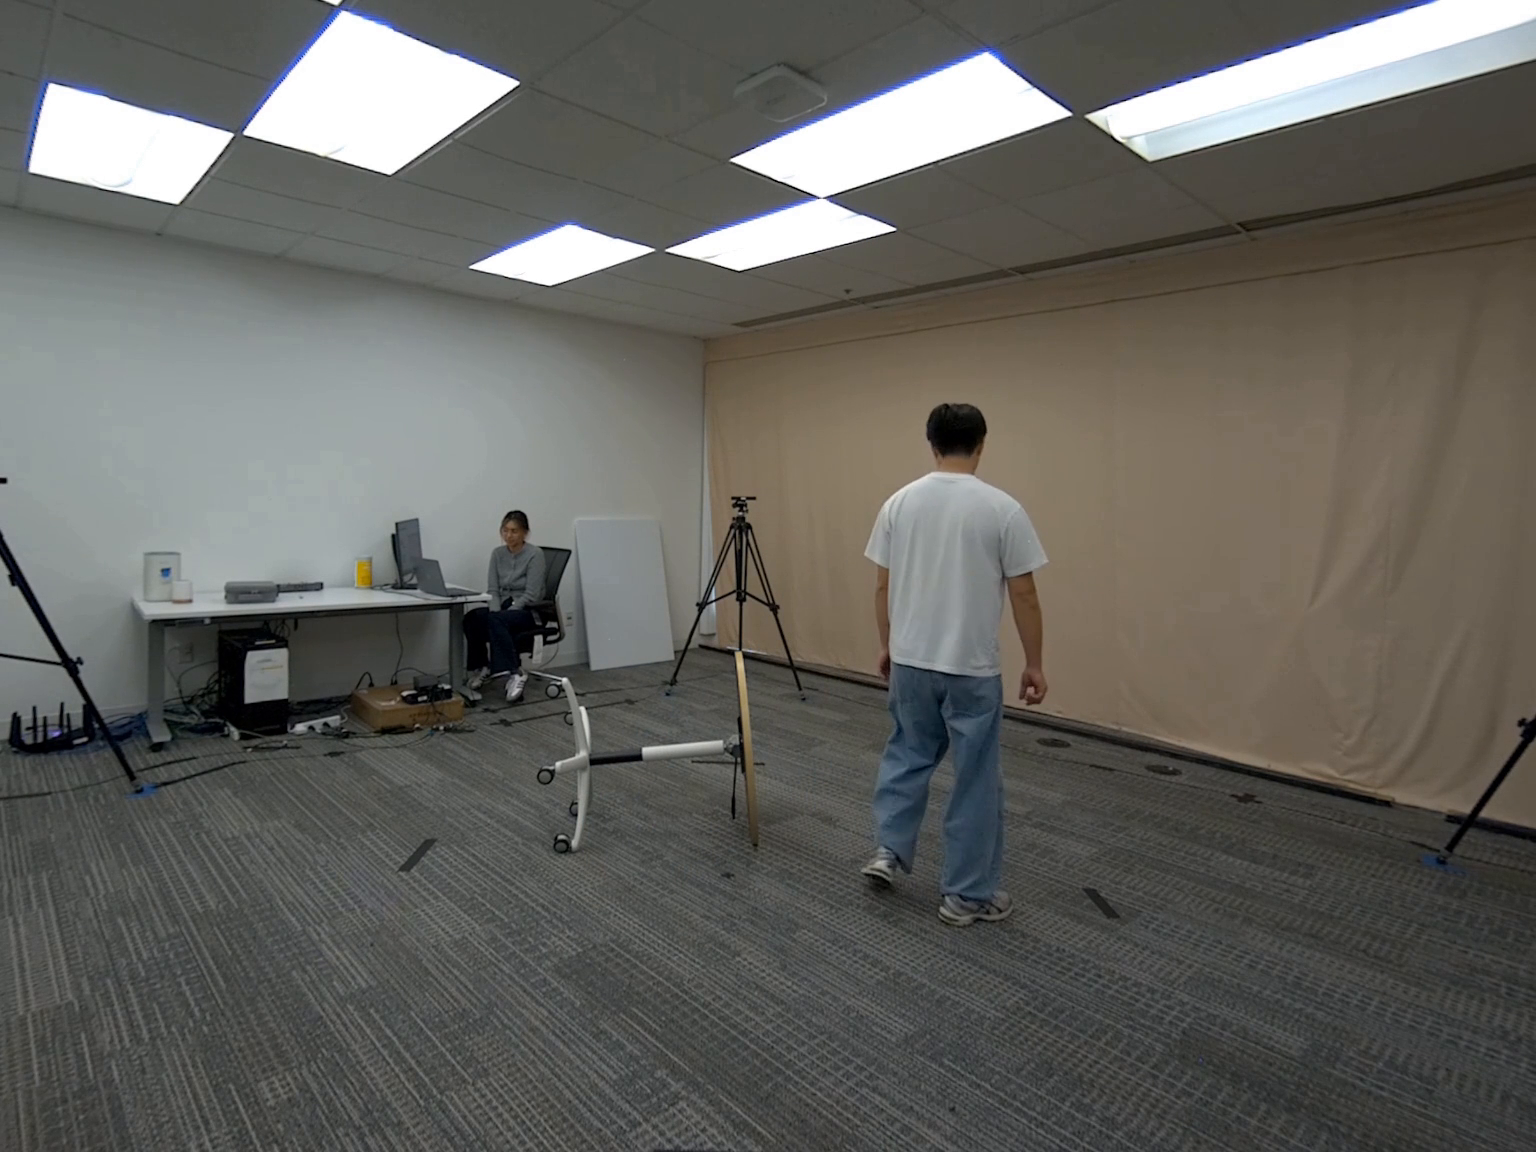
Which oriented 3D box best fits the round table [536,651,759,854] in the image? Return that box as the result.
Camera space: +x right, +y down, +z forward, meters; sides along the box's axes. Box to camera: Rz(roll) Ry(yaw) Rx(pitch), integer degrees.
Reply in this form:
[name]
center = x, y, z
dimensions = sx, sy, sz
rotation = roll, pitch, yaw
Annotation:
[round table]
center = -0.479, 0.723, 3.446
dimensions = 0.785, 0.782, 0.789
rotation = -5, 5, -3
